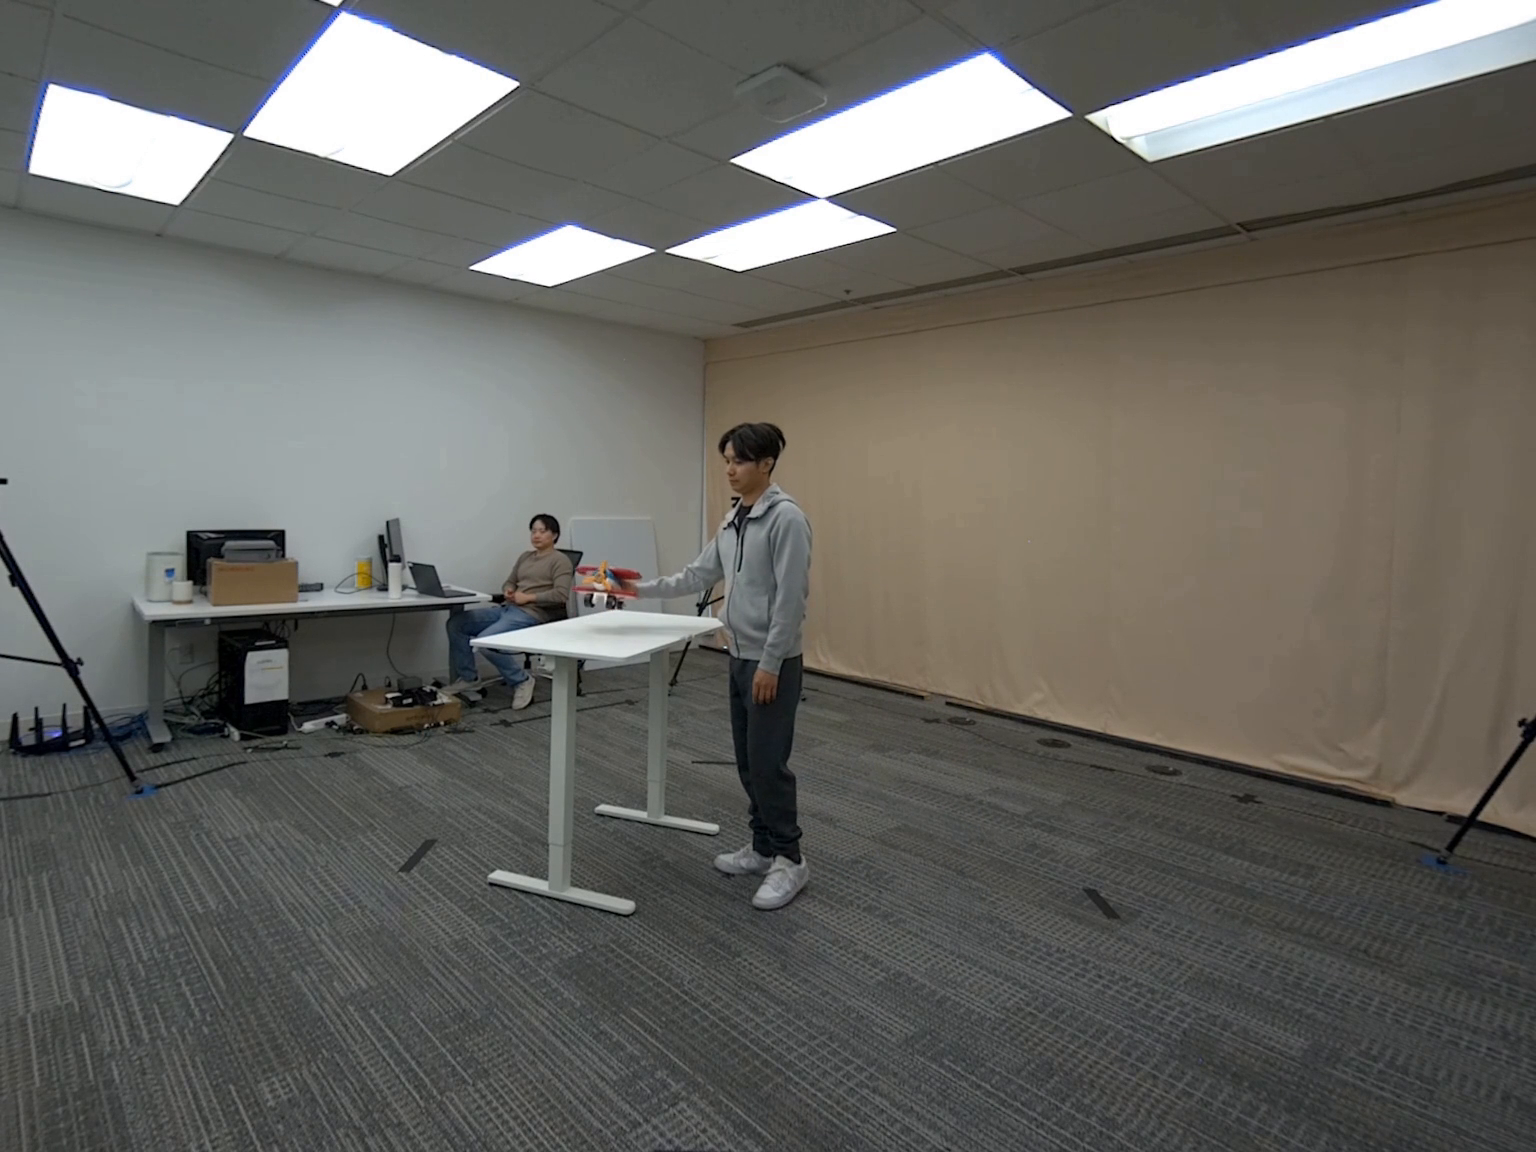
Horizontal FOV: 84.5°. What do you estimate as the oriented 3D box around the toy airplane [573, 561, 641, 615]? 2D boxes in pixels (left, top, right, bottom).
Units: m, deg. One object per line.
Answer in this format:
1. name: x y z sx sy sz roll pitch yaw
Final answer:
1. toy airplane: -0.631 0.044 3.193 0.248 0.157 0.262 6 -3 -17
